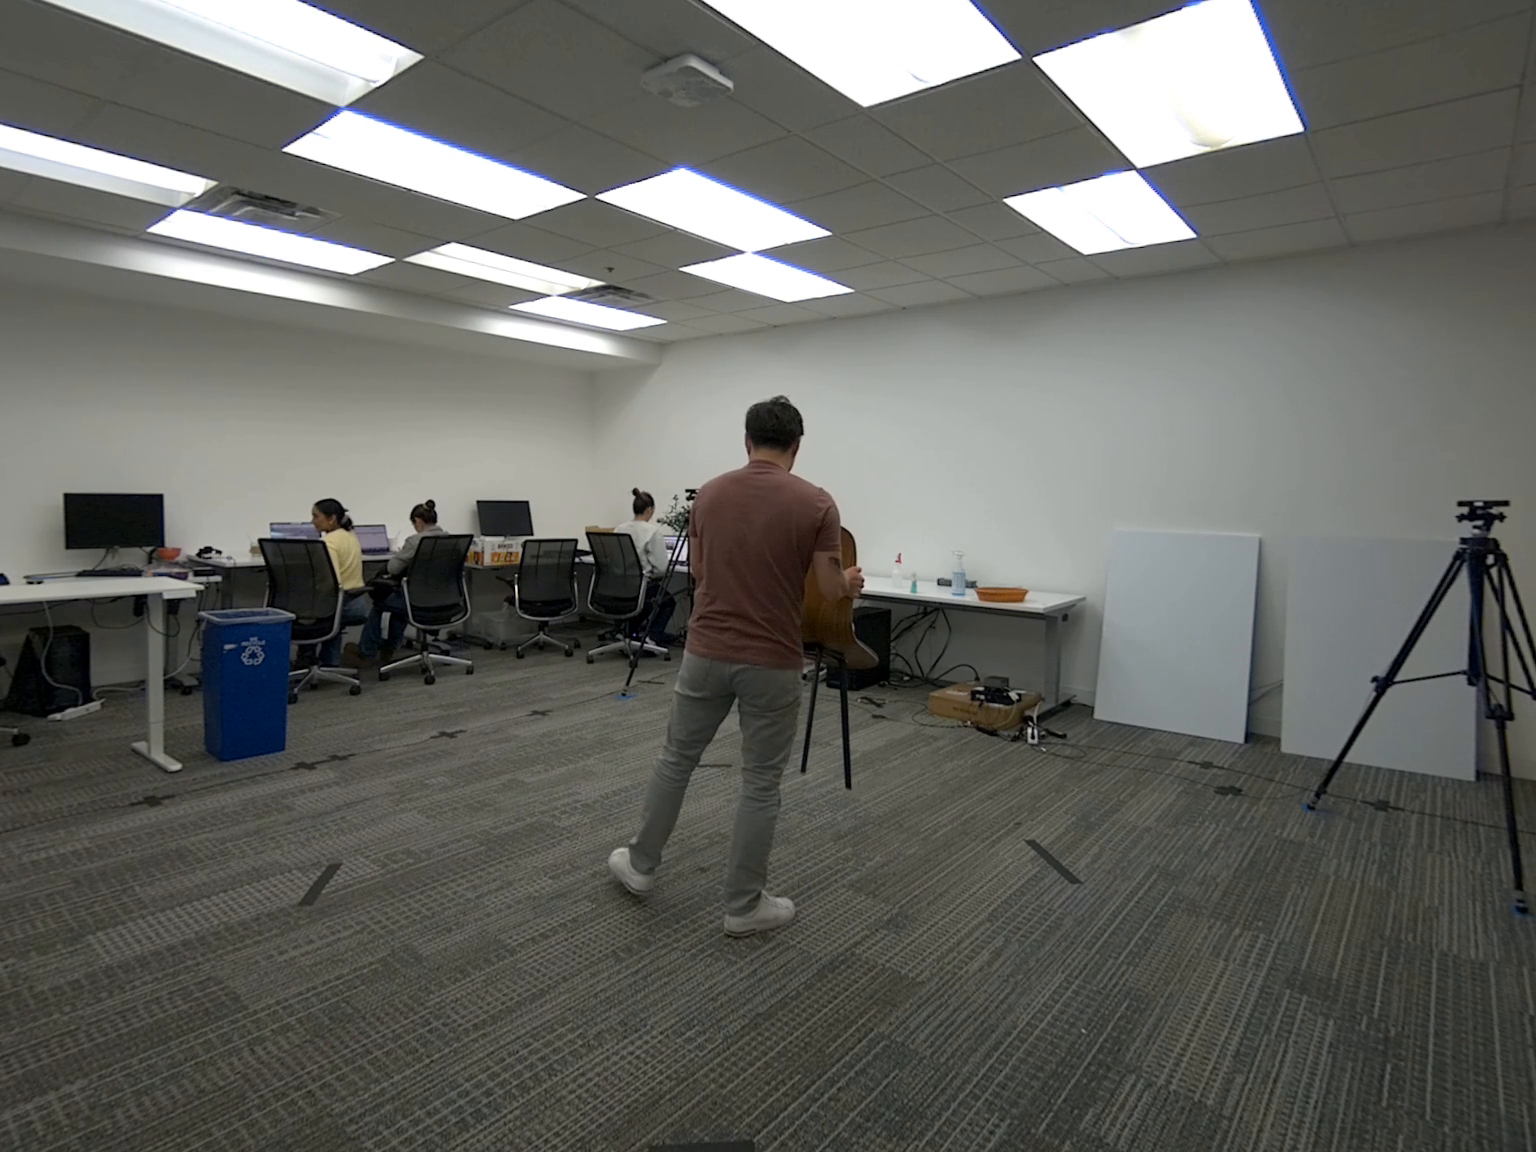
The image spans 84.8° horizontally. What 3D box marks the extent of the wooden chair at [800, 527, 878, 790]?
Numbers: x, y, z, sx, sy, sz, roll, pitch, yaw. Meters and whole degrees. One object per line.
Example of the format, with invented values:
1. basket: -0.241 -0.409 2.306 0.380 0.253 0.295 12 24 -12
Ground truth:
1. wooden chair: 0.116 0.272 3.116 0.493 0.884 0.503 7 -12 30
